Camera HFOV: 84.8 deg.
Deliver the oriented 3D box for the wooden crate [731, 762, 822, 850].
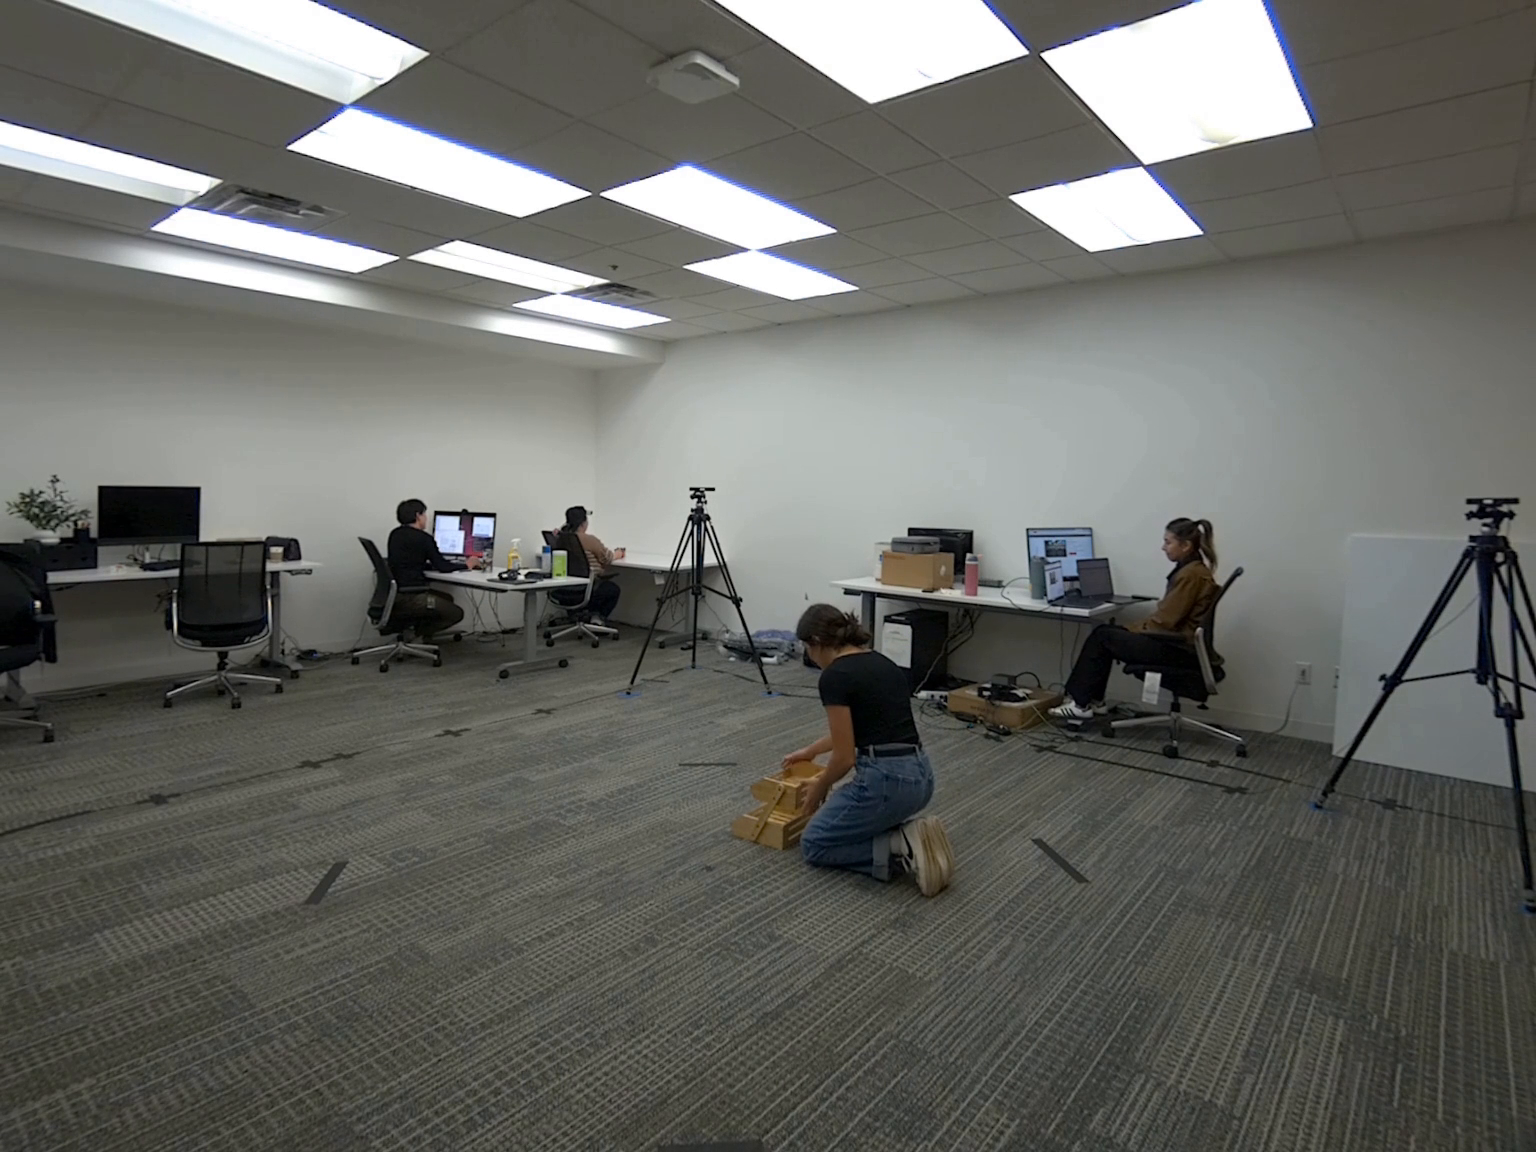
[{"bbox_3d":[0.043,0.904,3.456,0.312,0.272,0.315,5,6,33],"label":"wooden crate"}]
